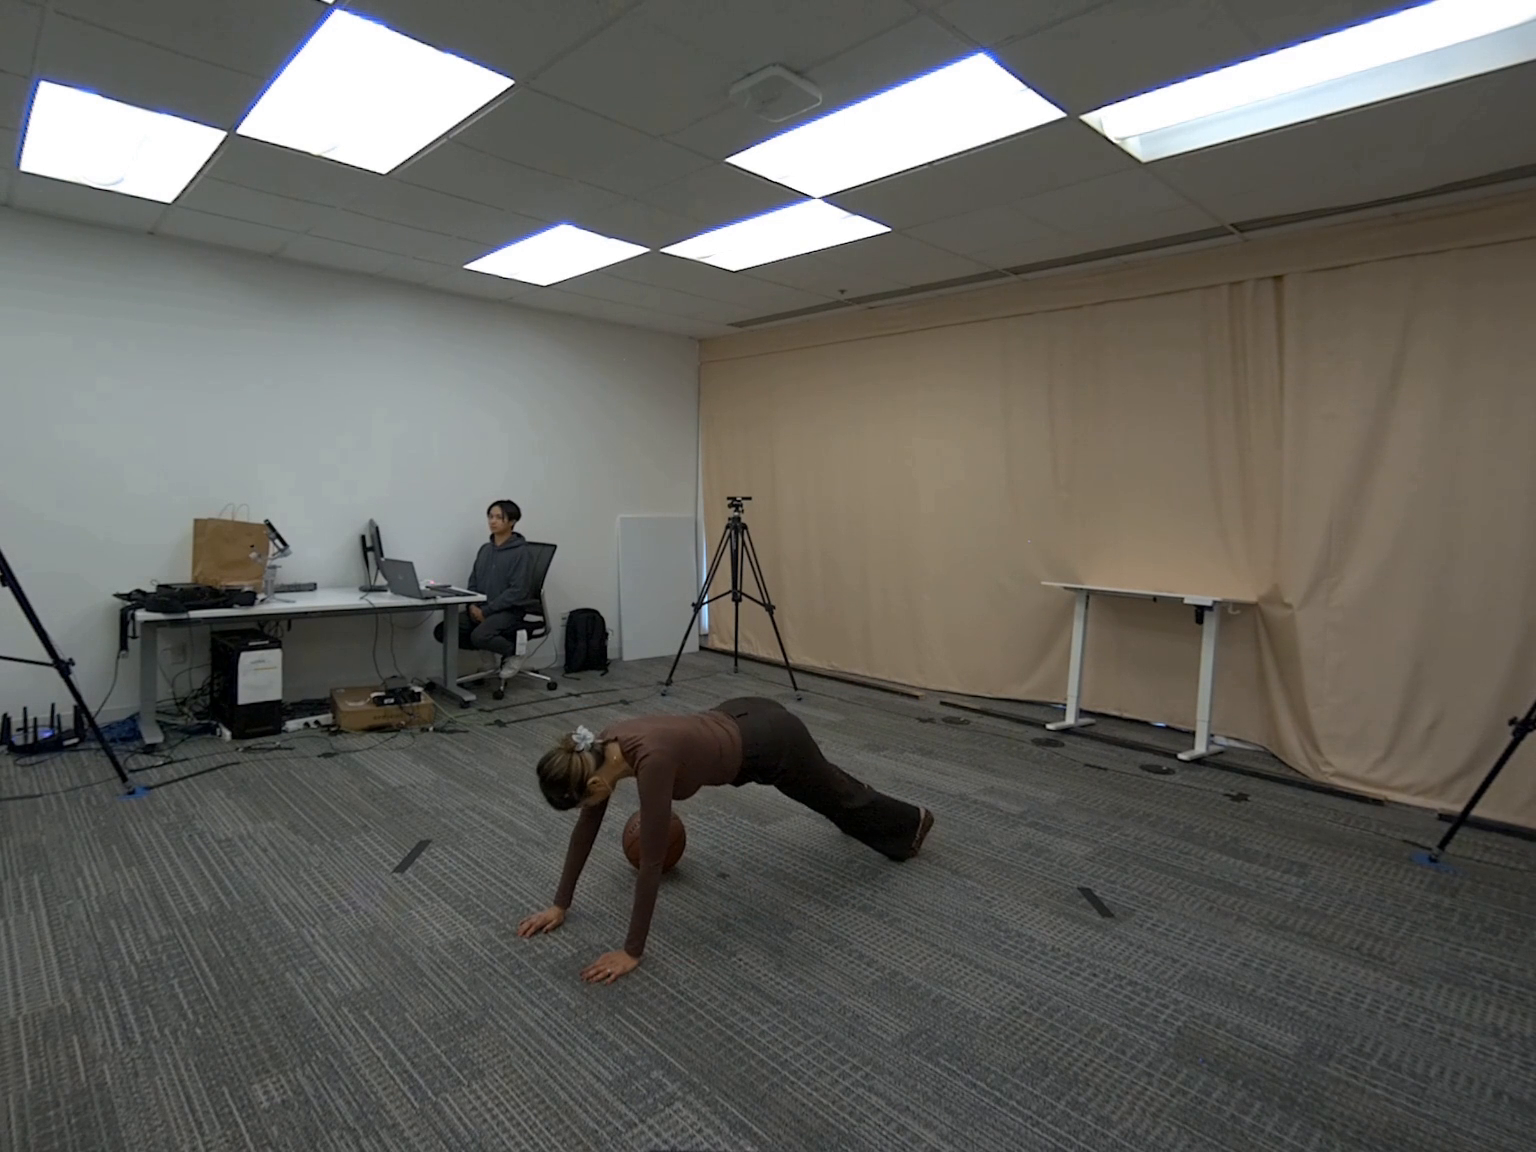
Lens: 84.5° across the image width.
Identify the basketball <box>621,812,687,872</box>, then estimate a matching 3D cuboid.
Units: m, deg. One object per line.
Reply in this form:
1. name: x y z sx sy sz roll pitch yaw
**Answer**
1. basketball: -0.426 0.974 3.134 0.236 0.235 0.237 1 4 -1
